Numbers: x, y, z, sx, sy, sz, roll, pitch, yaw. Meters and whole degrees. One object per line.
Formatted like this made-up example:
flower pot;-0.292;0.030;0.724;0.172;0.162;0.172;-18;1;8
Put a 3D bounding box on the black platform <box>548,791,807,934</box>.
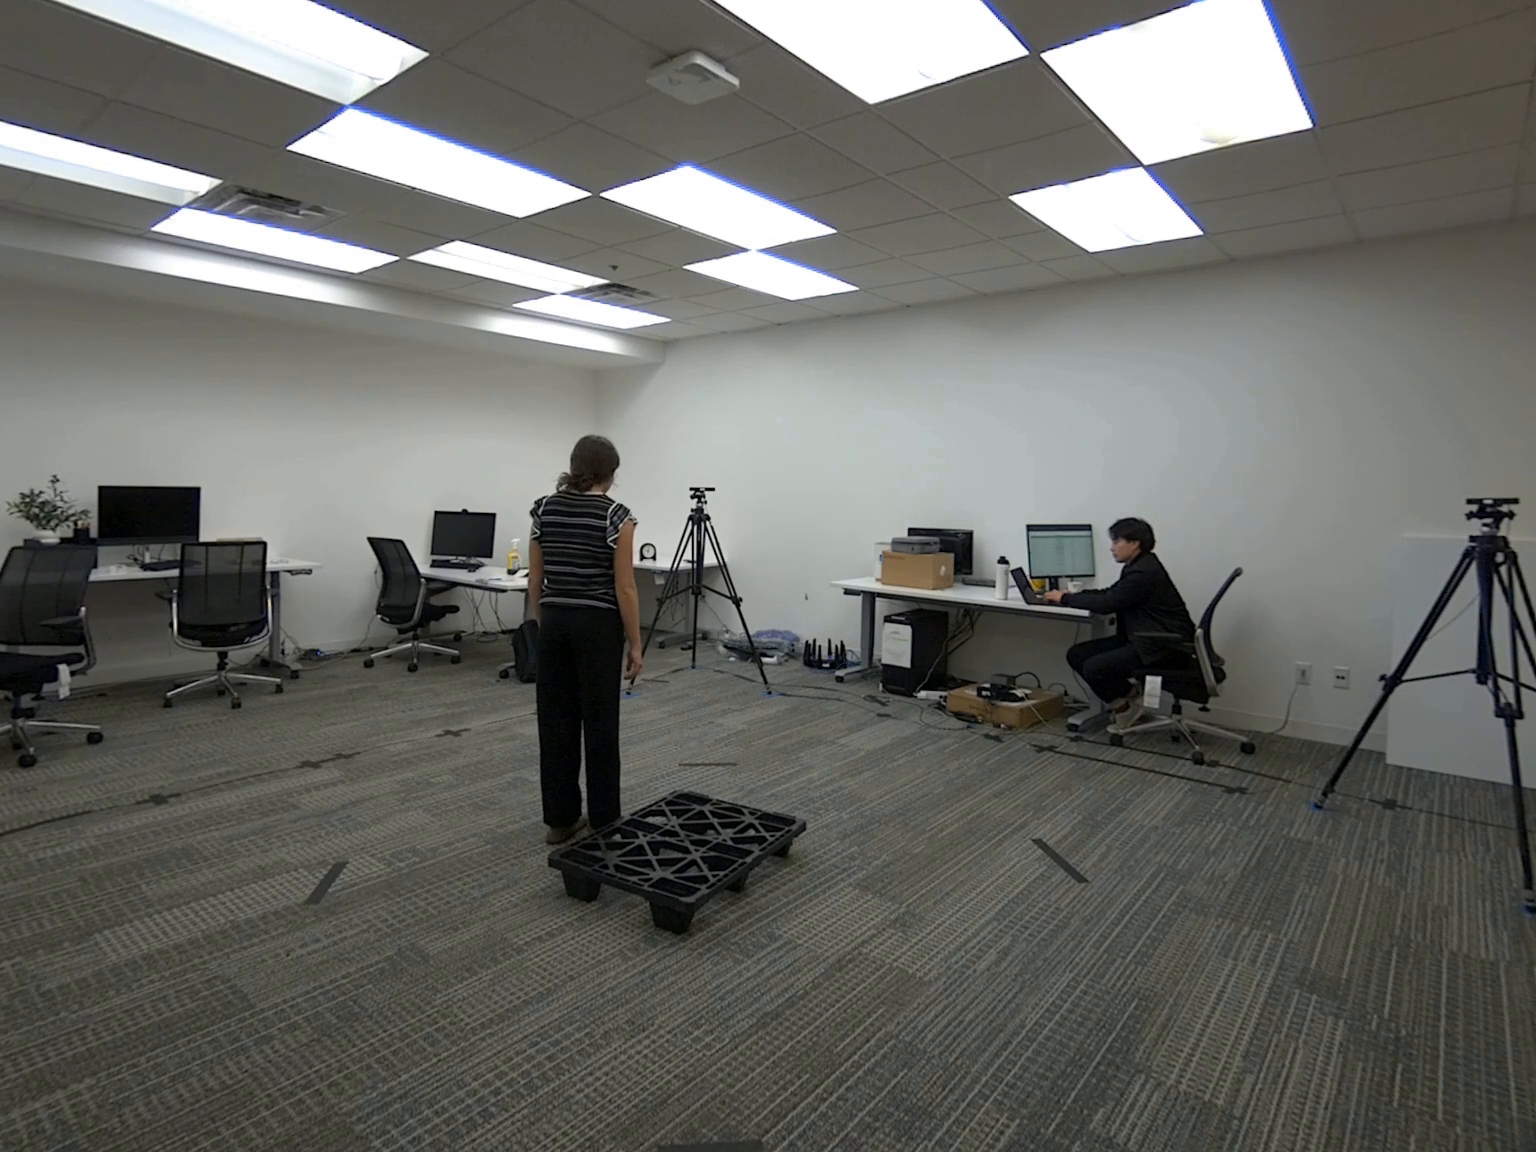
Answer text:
black platform;-0.314;1.002;3.063;0.623;0.143;0.785;3;6;30
